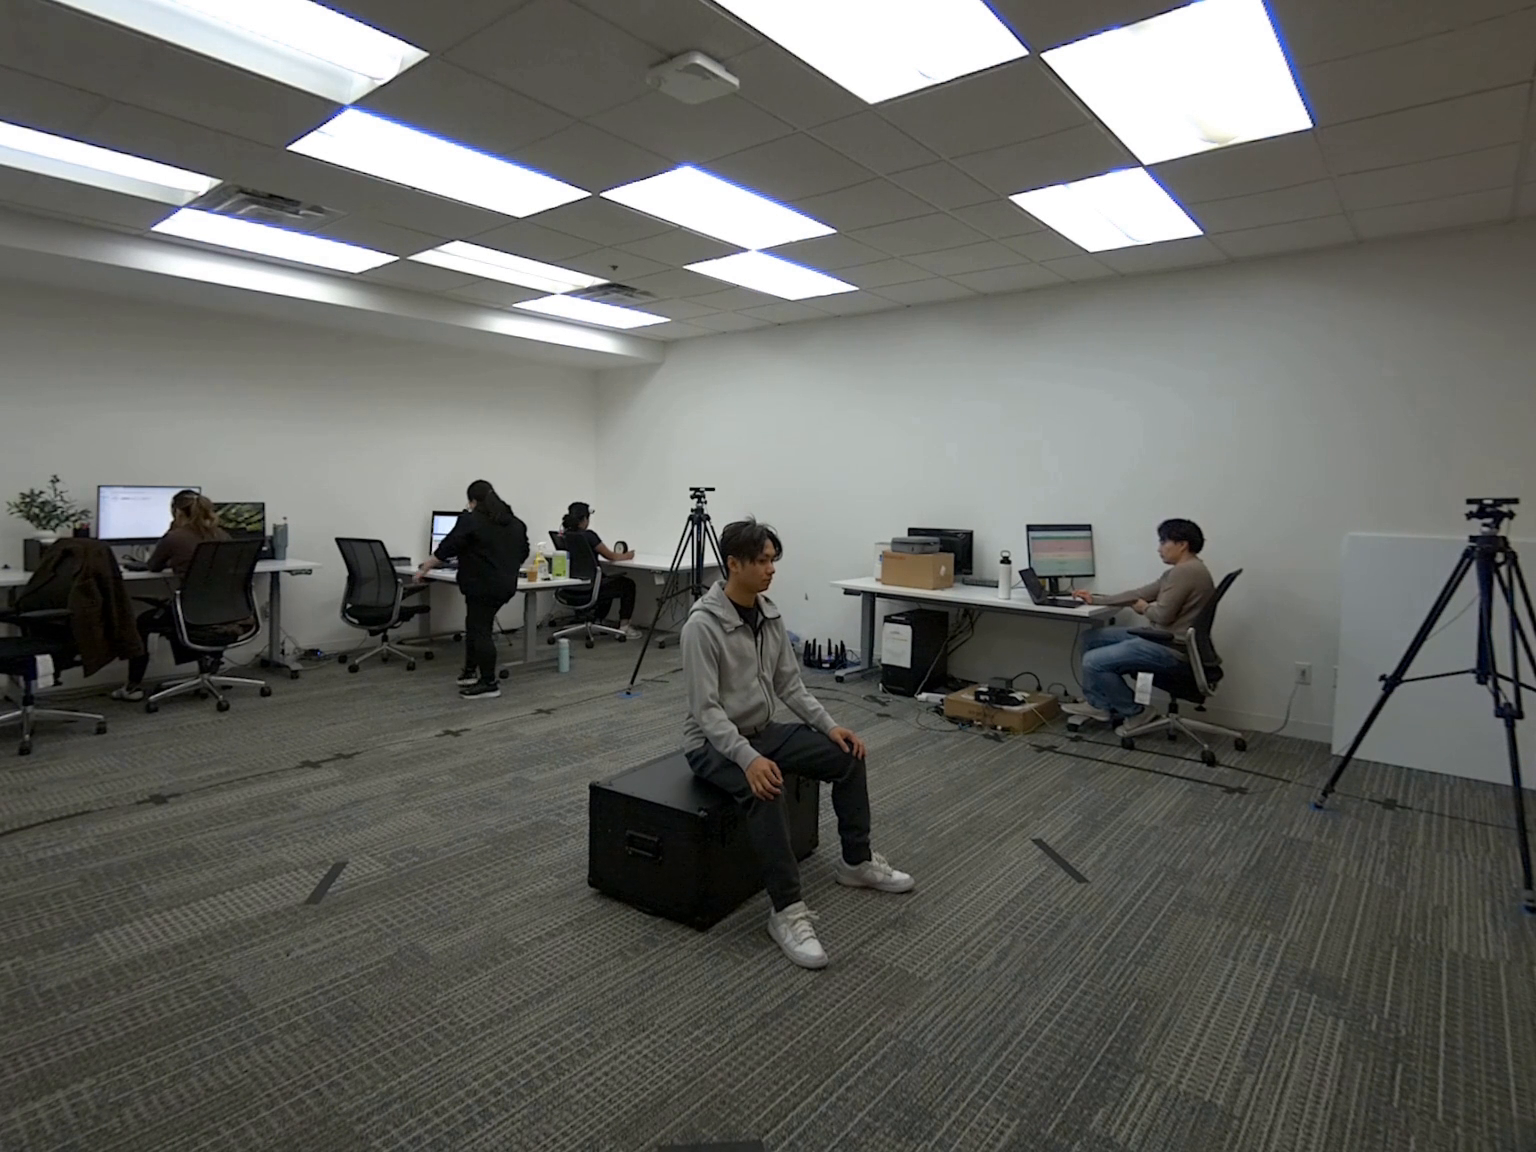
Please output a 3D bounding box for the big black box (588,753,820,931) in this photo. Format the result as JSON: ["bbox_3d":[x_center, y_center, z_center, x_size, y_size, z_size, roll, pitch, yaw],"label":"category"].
[{"bbox_3d":[-0.237,0.887,3.059,0.537,0.395,0.838,4,6,32],"label":"big black box"}]
